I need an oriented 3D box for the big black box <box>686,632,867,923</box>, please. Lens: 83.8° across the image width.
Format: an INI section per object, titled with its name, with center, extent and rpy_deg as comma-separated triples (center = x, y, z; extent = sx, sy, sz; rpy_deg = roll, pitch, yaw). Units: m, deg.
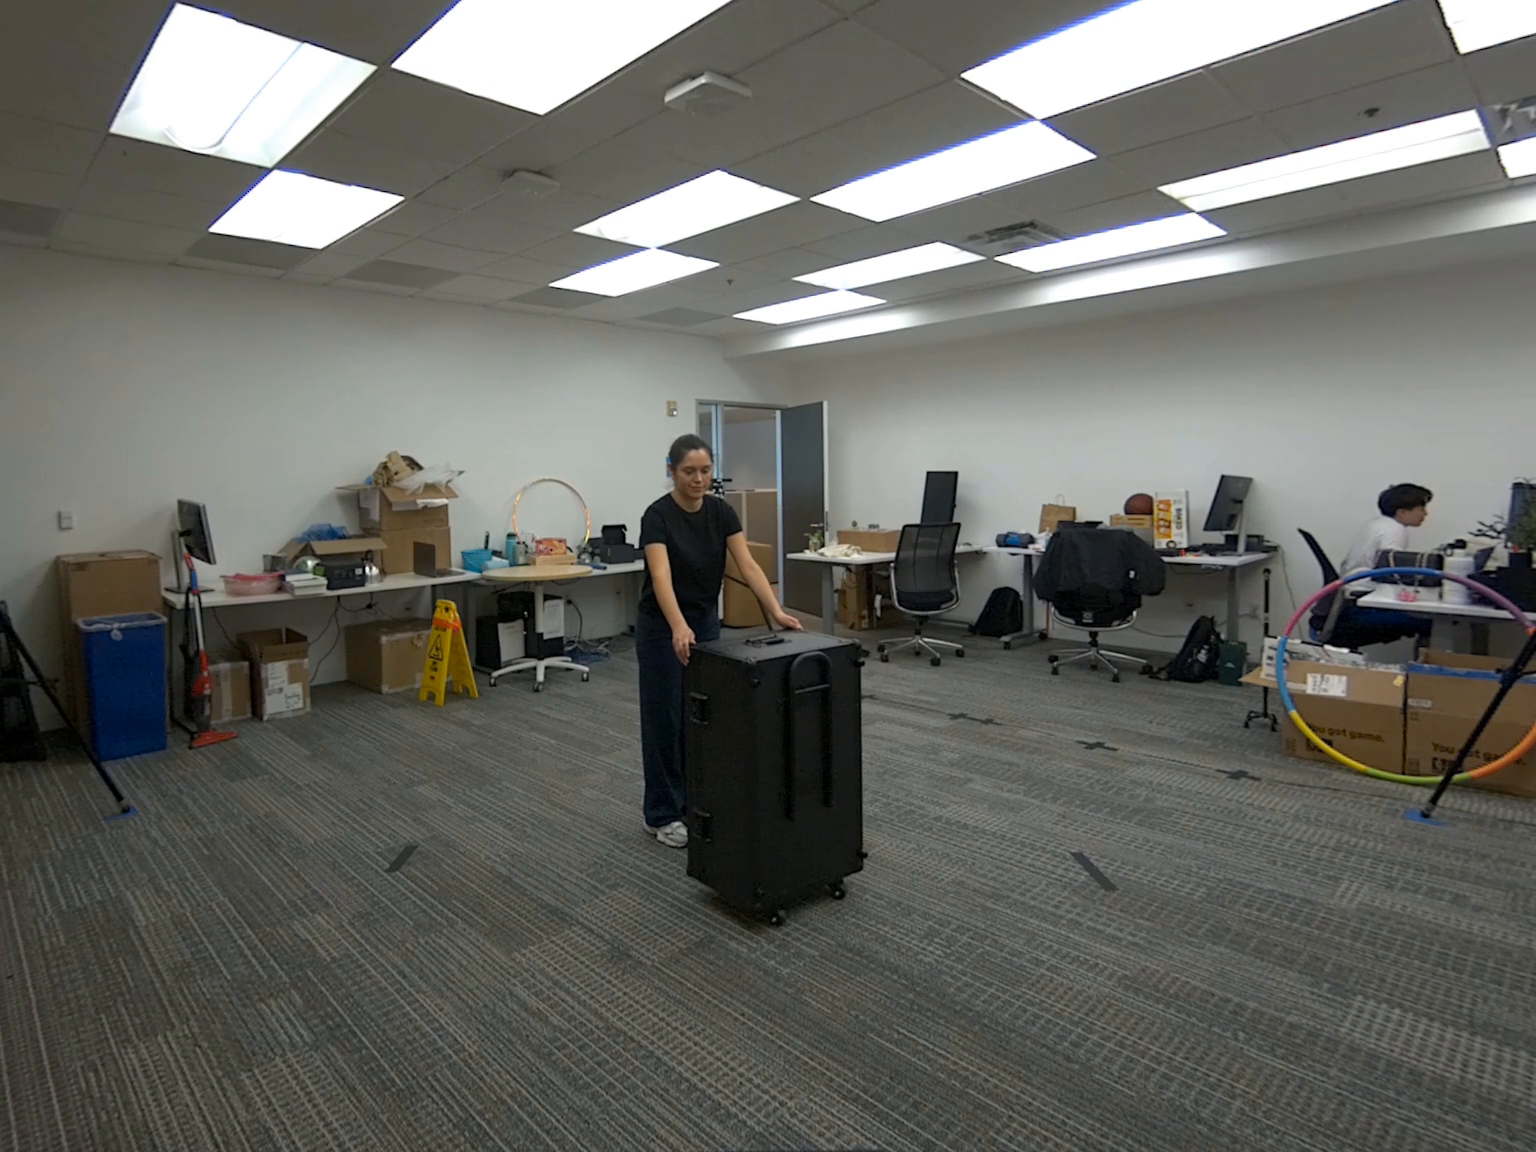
[big black box]
center = 0.034, 0.646, 2.862
extent = 0.508, 0.858, 0.408
rpy_deg = -4, 6, -39
